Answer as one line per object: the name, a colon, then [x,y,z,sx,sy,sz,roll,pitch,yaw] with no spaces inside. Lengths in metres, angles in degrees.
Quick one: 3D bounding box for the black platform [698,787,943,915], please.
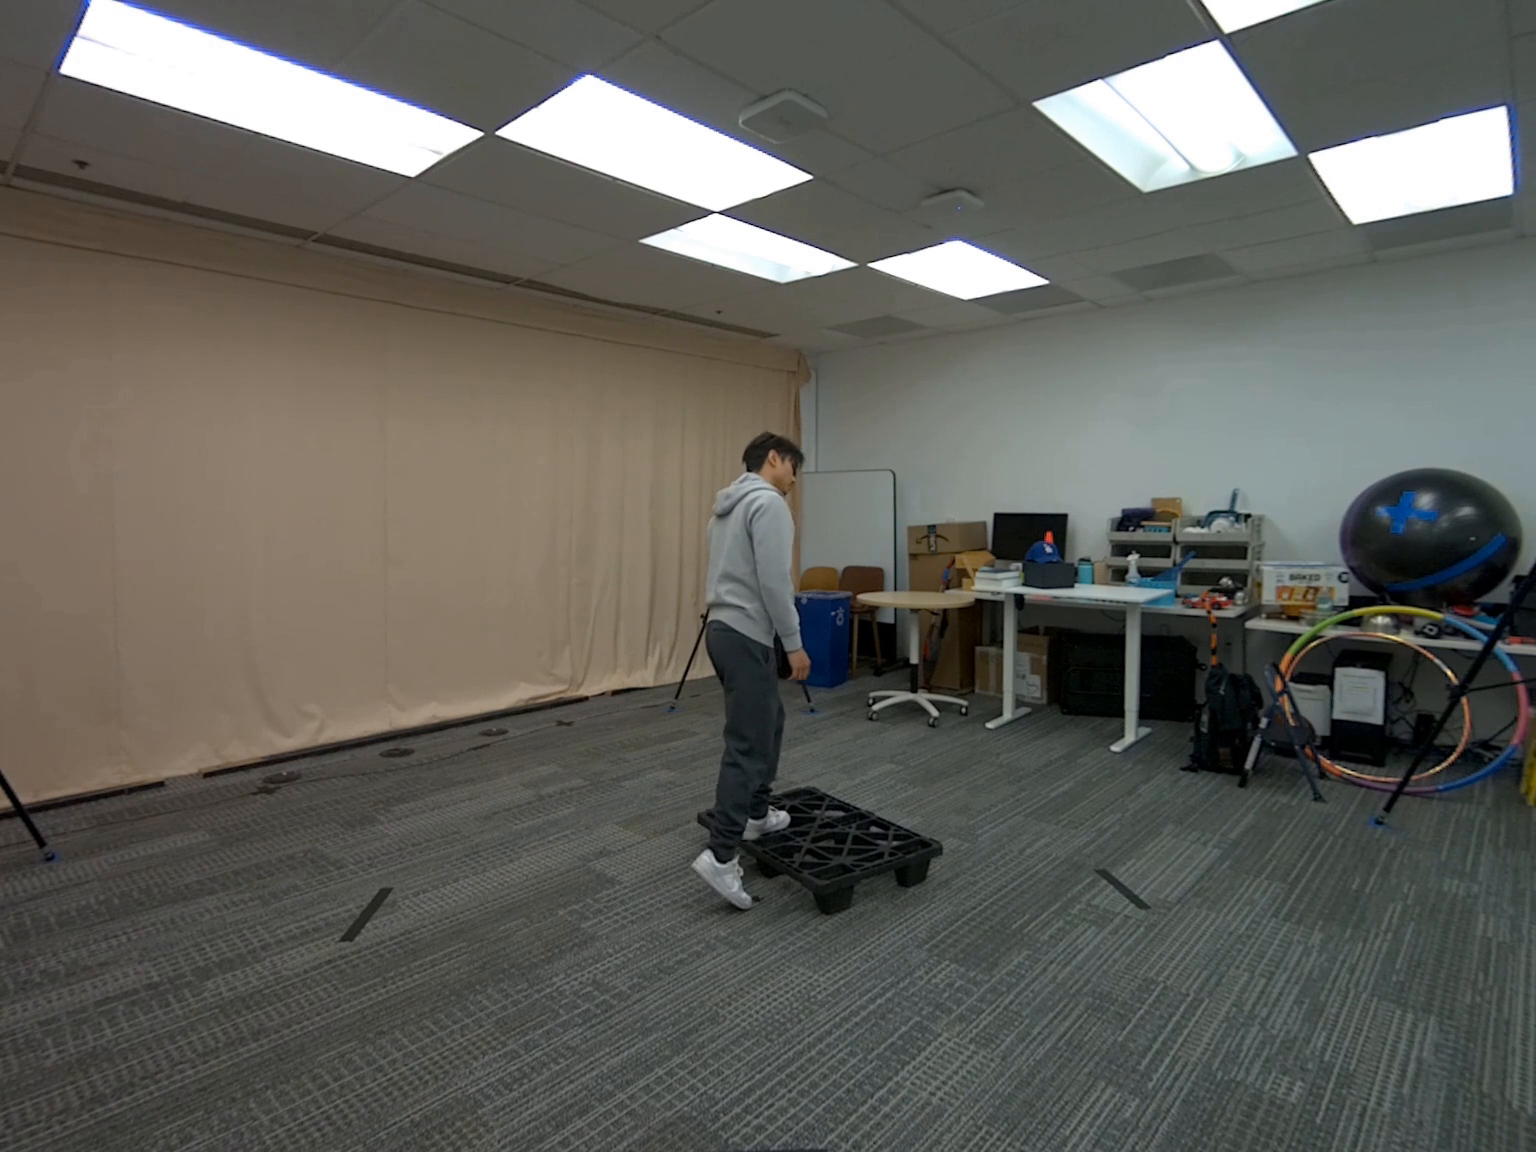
black platform: [0.180,1.050,3.277,0.588,0.143,0.831,-5,6,-34]
